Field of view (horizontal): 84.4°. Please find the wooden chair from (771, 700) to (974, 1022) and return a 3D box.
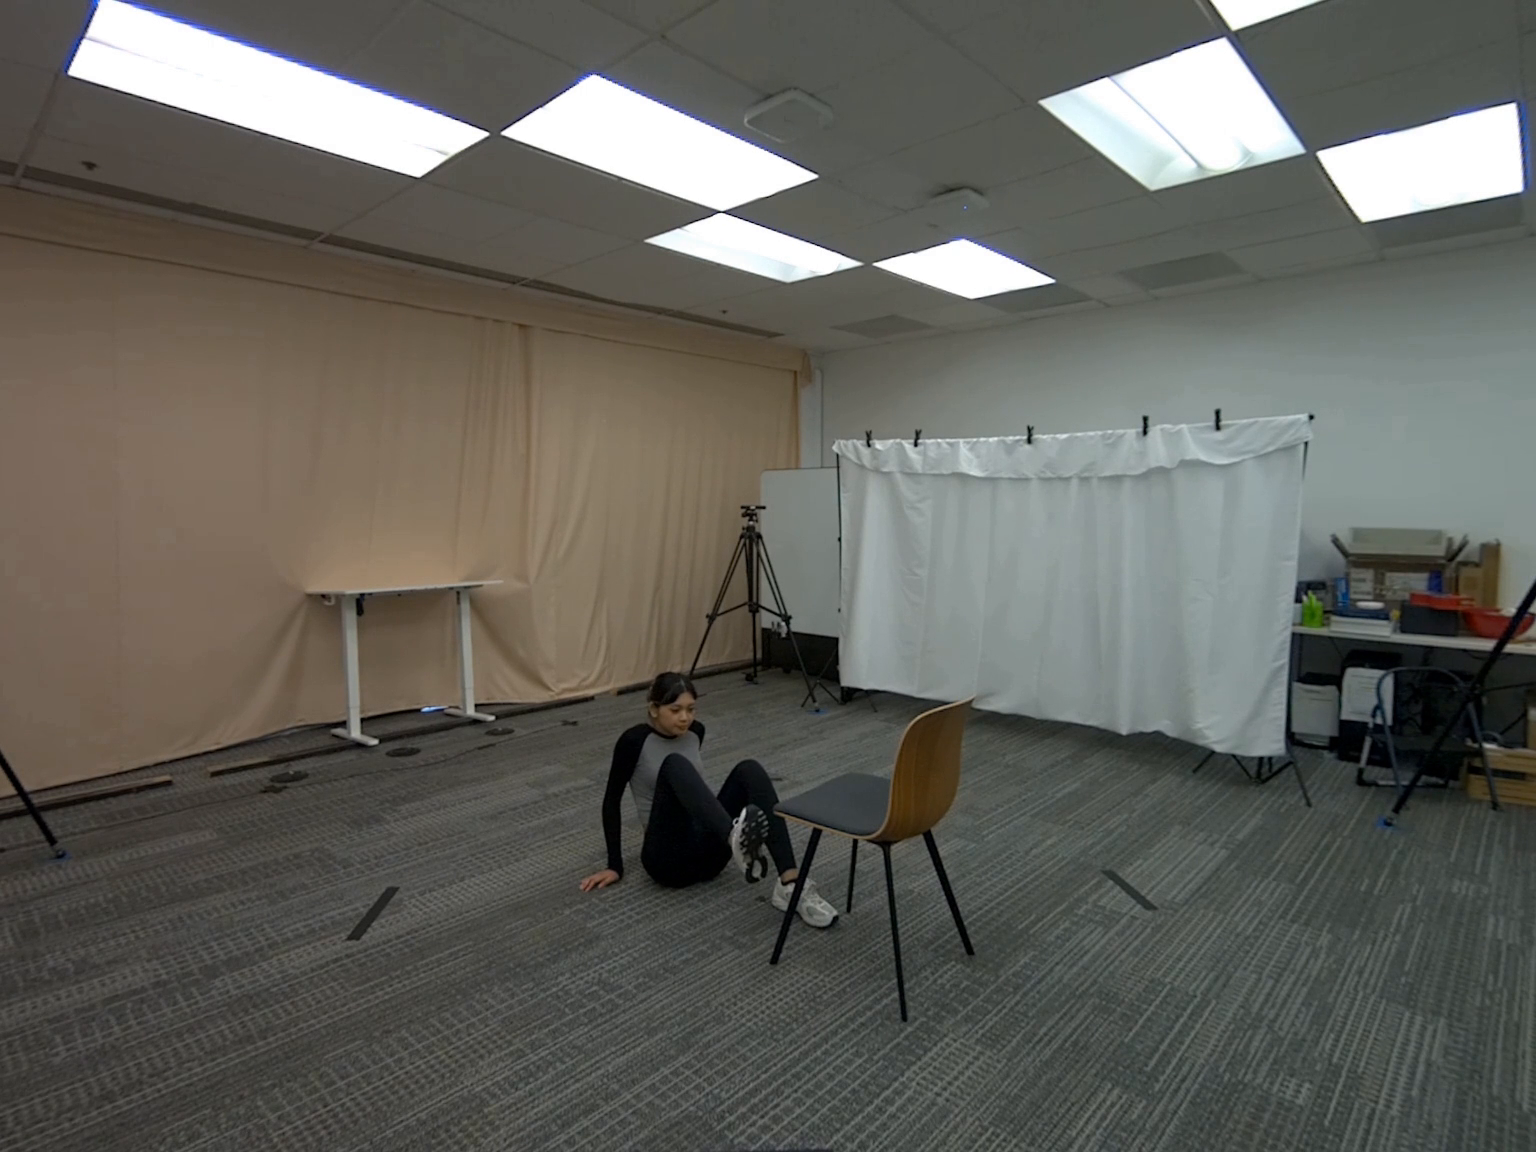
[{"bbox_3d":[0.322,0.750,2.558,0.541,0.874,0.464,8,8,38],"label":"wooden chair"}]
